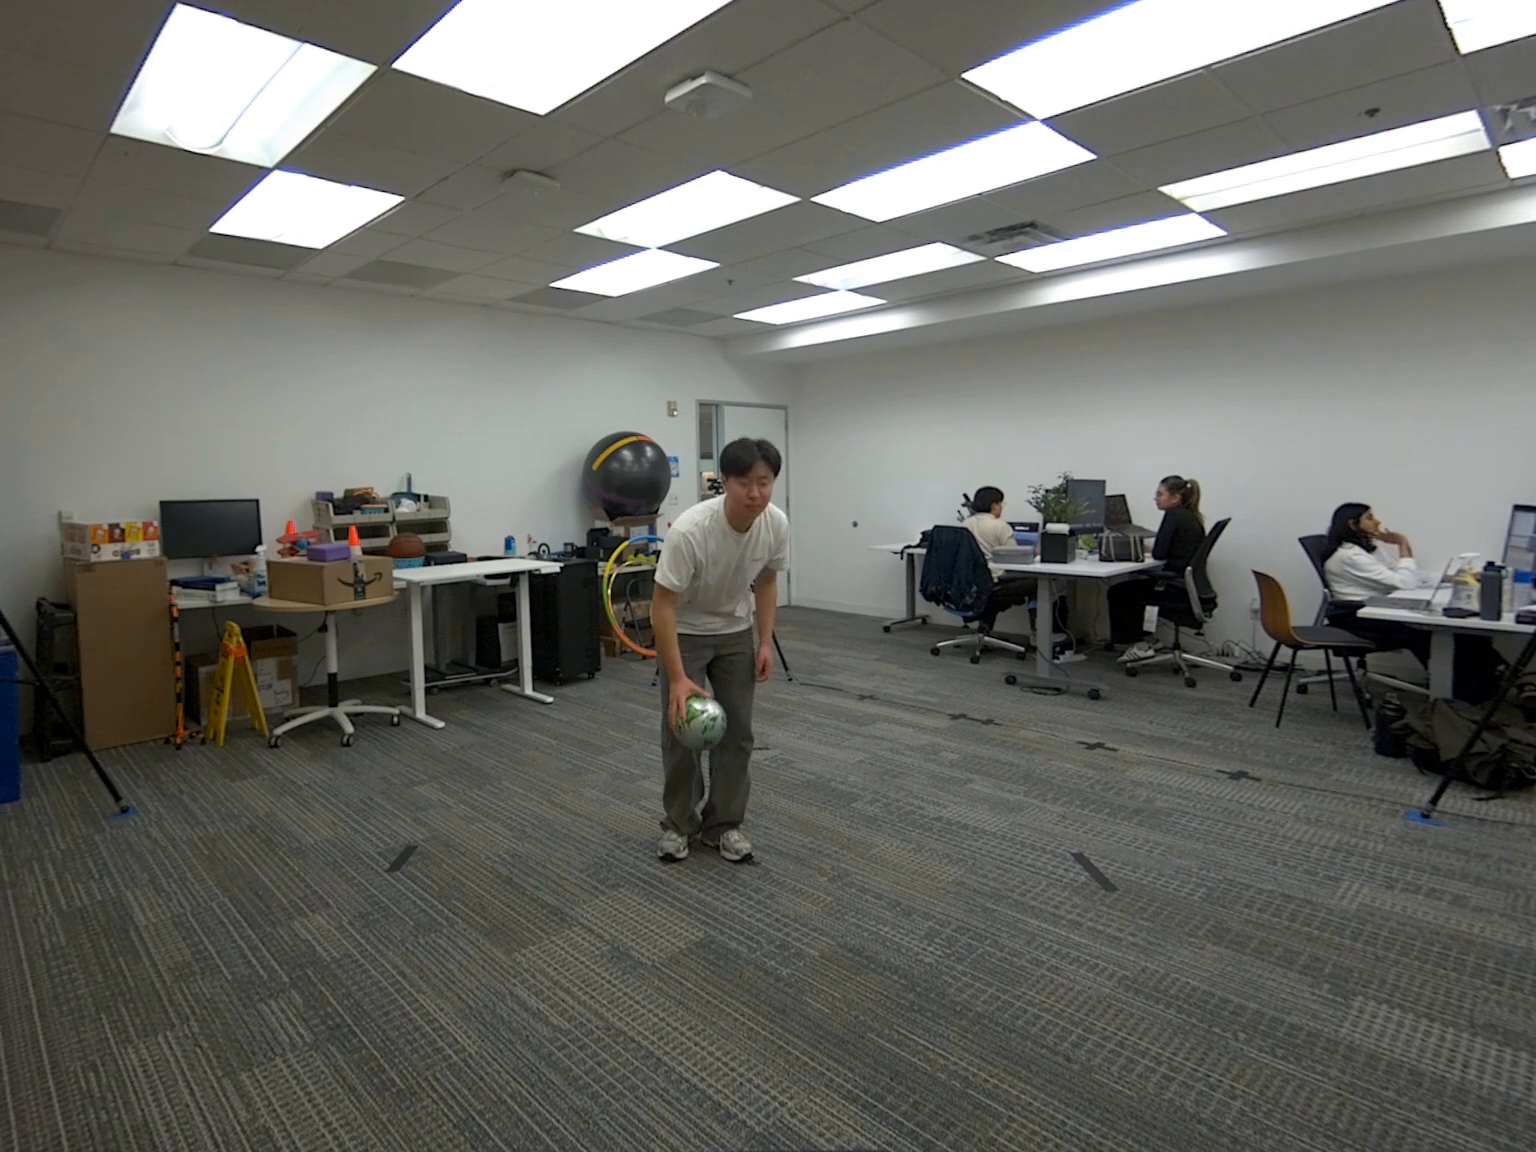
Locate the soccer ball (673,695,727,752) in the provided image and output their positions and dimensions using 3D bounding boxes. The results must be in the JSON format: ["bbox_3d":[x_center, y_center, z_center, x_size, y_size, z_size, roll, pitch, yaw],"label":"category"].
[{"bbox_3d":[-0.229,0.520,2.939,0.187,0.187,0.188,-1,5,-2],"label":"soccer ball"}]
